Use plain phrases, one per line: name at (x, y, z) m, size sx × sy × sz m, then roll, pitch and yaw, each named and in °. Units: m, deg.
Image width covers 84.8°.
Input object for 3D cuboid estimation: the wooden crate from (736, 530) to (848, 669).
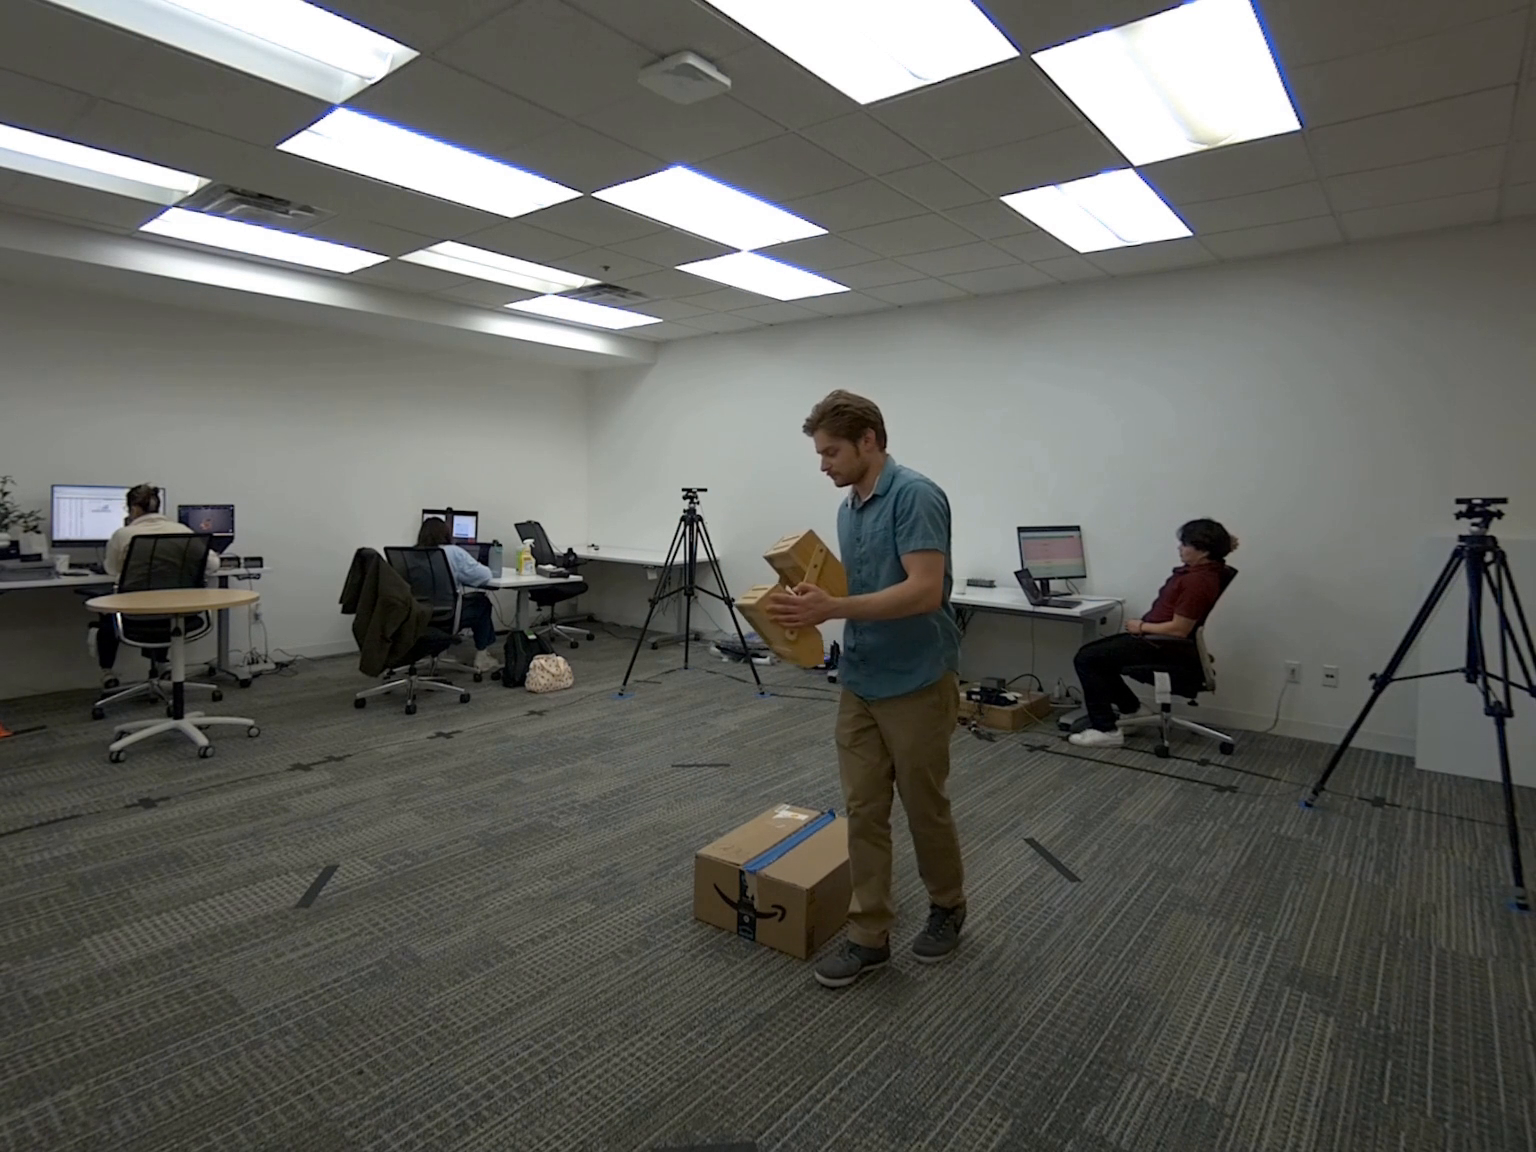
wooden crate at (0.084, 0.067, 2.480) m, size 0.273 × 0.300 × 0.327 m, roll -41°, pitch 6°, yaw -11°
